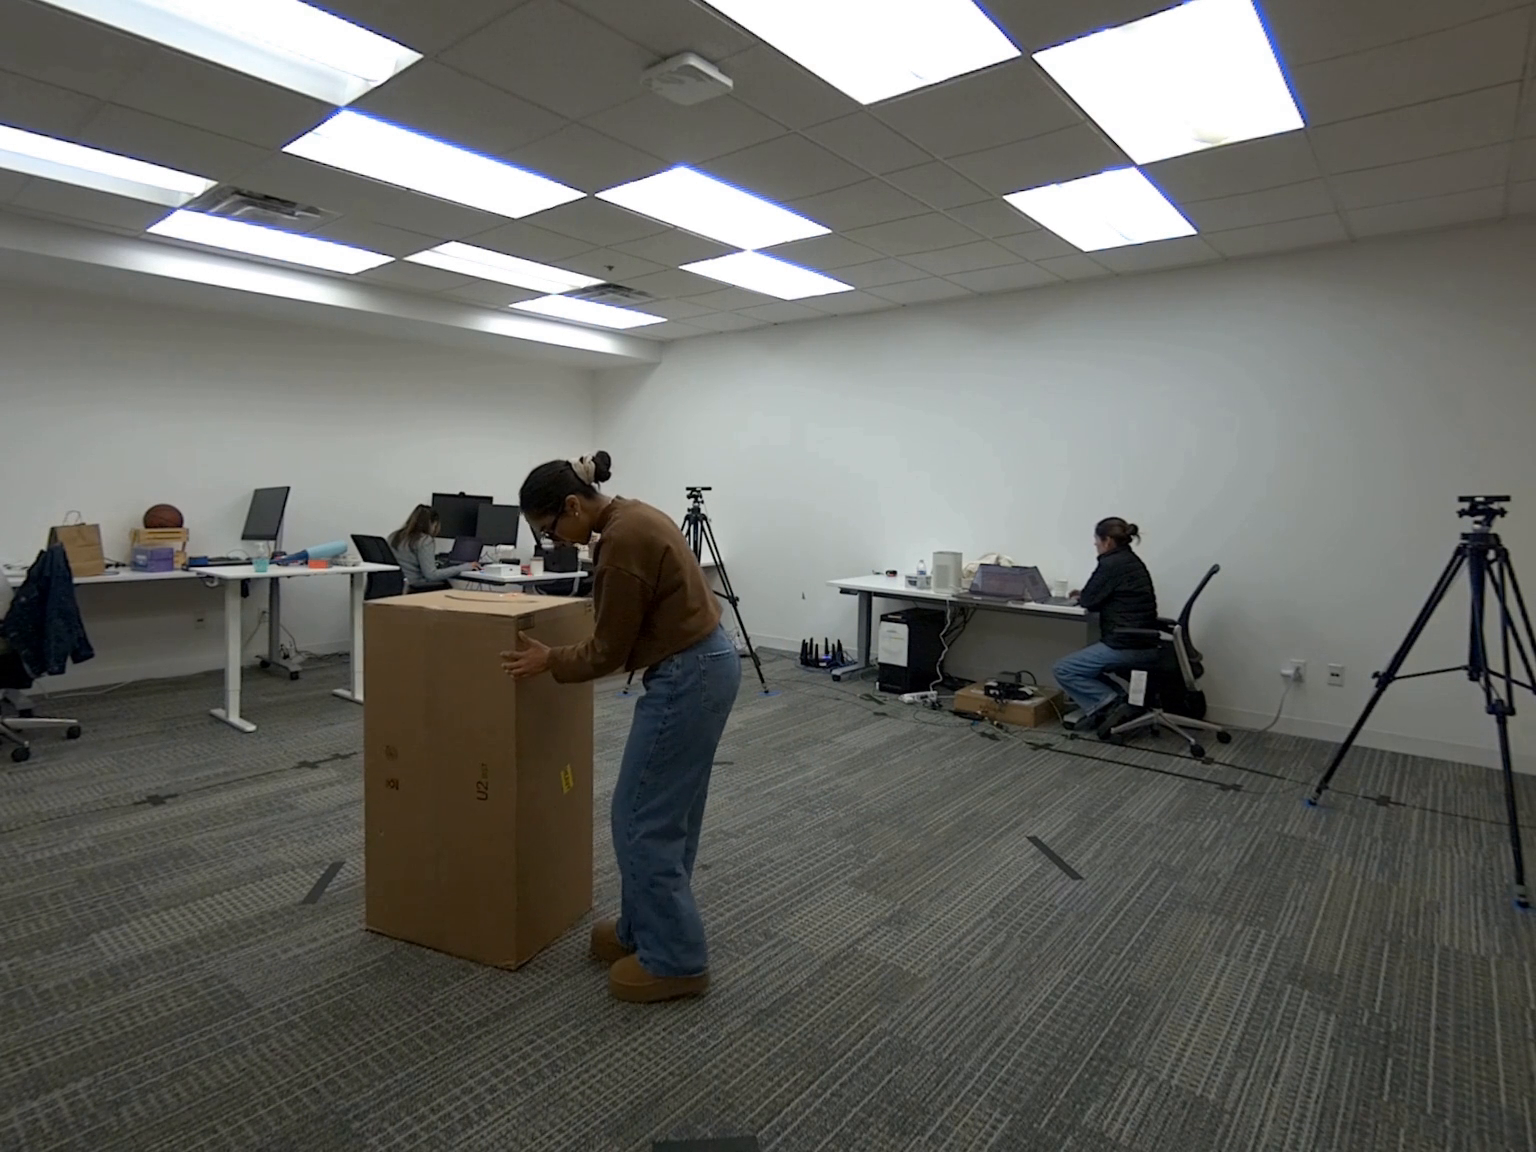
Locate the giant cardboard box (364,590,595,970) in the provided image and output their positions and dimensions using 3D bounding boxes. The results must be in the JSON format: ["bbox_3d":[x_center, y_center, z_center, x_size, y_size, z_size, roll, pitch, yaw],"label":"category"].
[{"bbox_3d":[-0.919,0.587,2.711,0.592,1.023,0.417,2,3,23],"label":"giant cardboard box"}]
